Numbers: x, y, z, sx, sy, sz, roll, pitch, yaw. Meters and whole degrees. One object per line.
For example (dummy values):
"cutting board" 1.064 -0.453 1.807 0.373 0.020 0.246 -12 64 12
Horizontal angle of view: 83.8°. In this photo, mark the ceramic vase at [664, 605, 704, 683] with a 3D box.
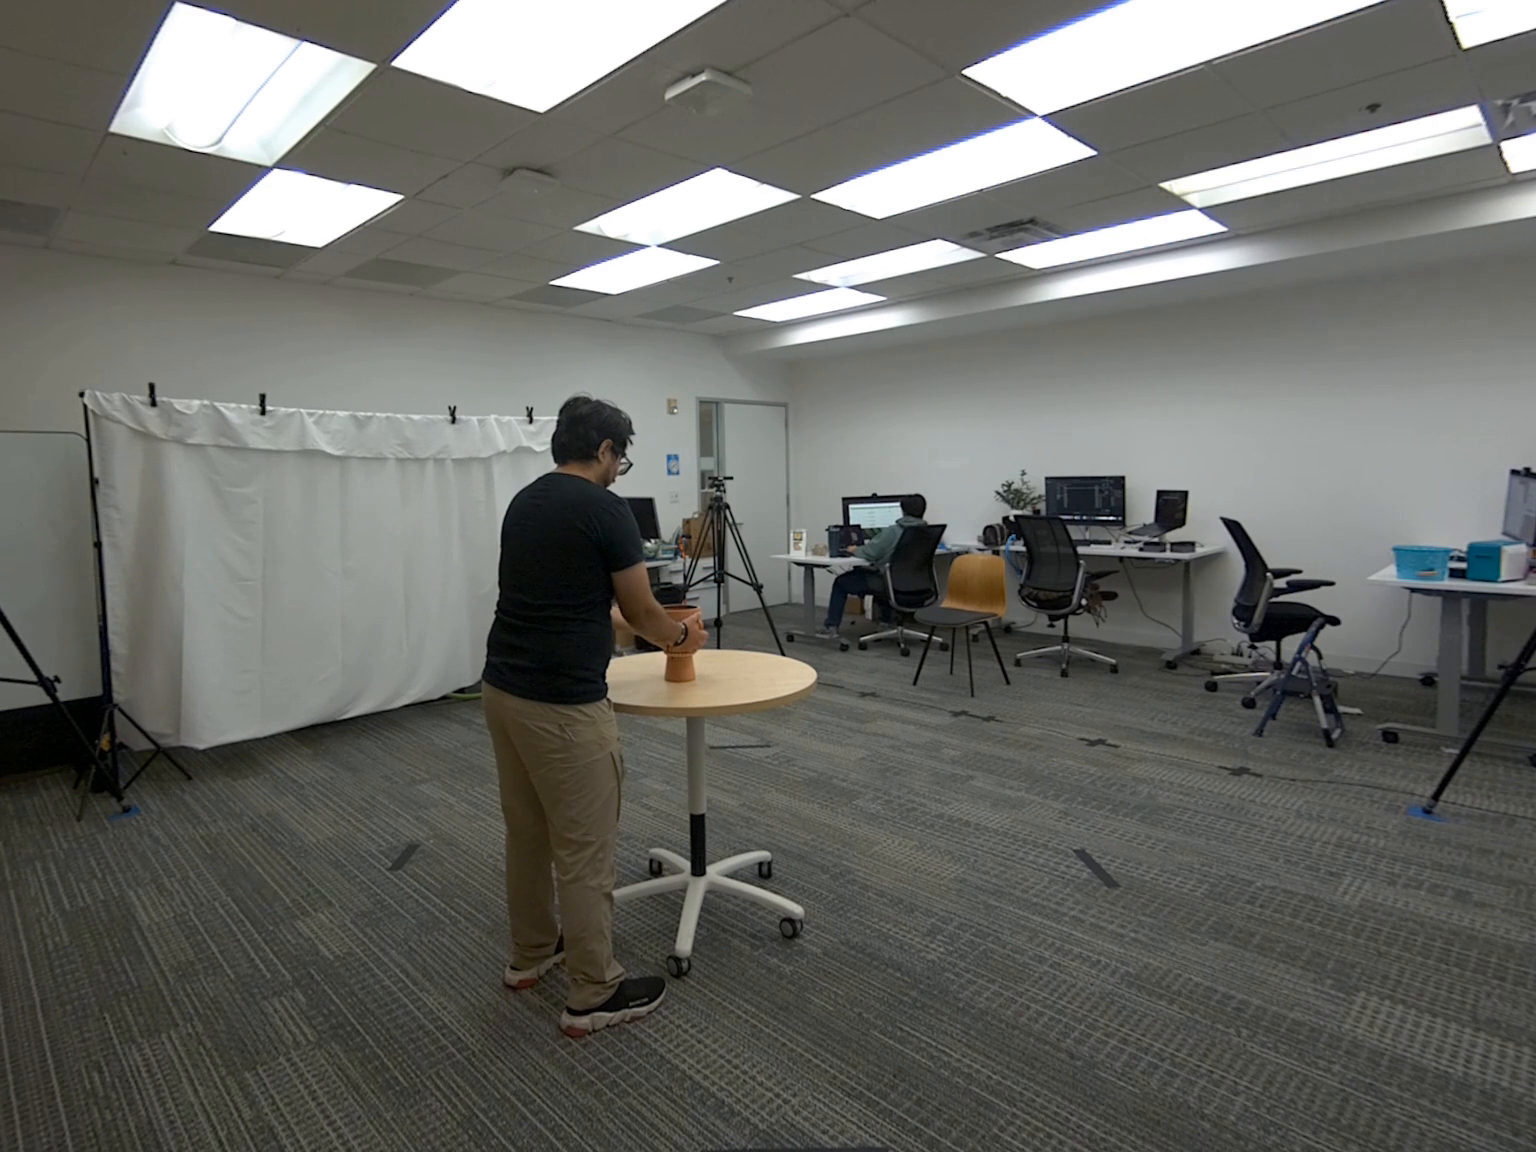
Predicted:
"ceramic vase" -0.265 0.208 2.612 0.132 0.219 0.162 -7 6 -20
